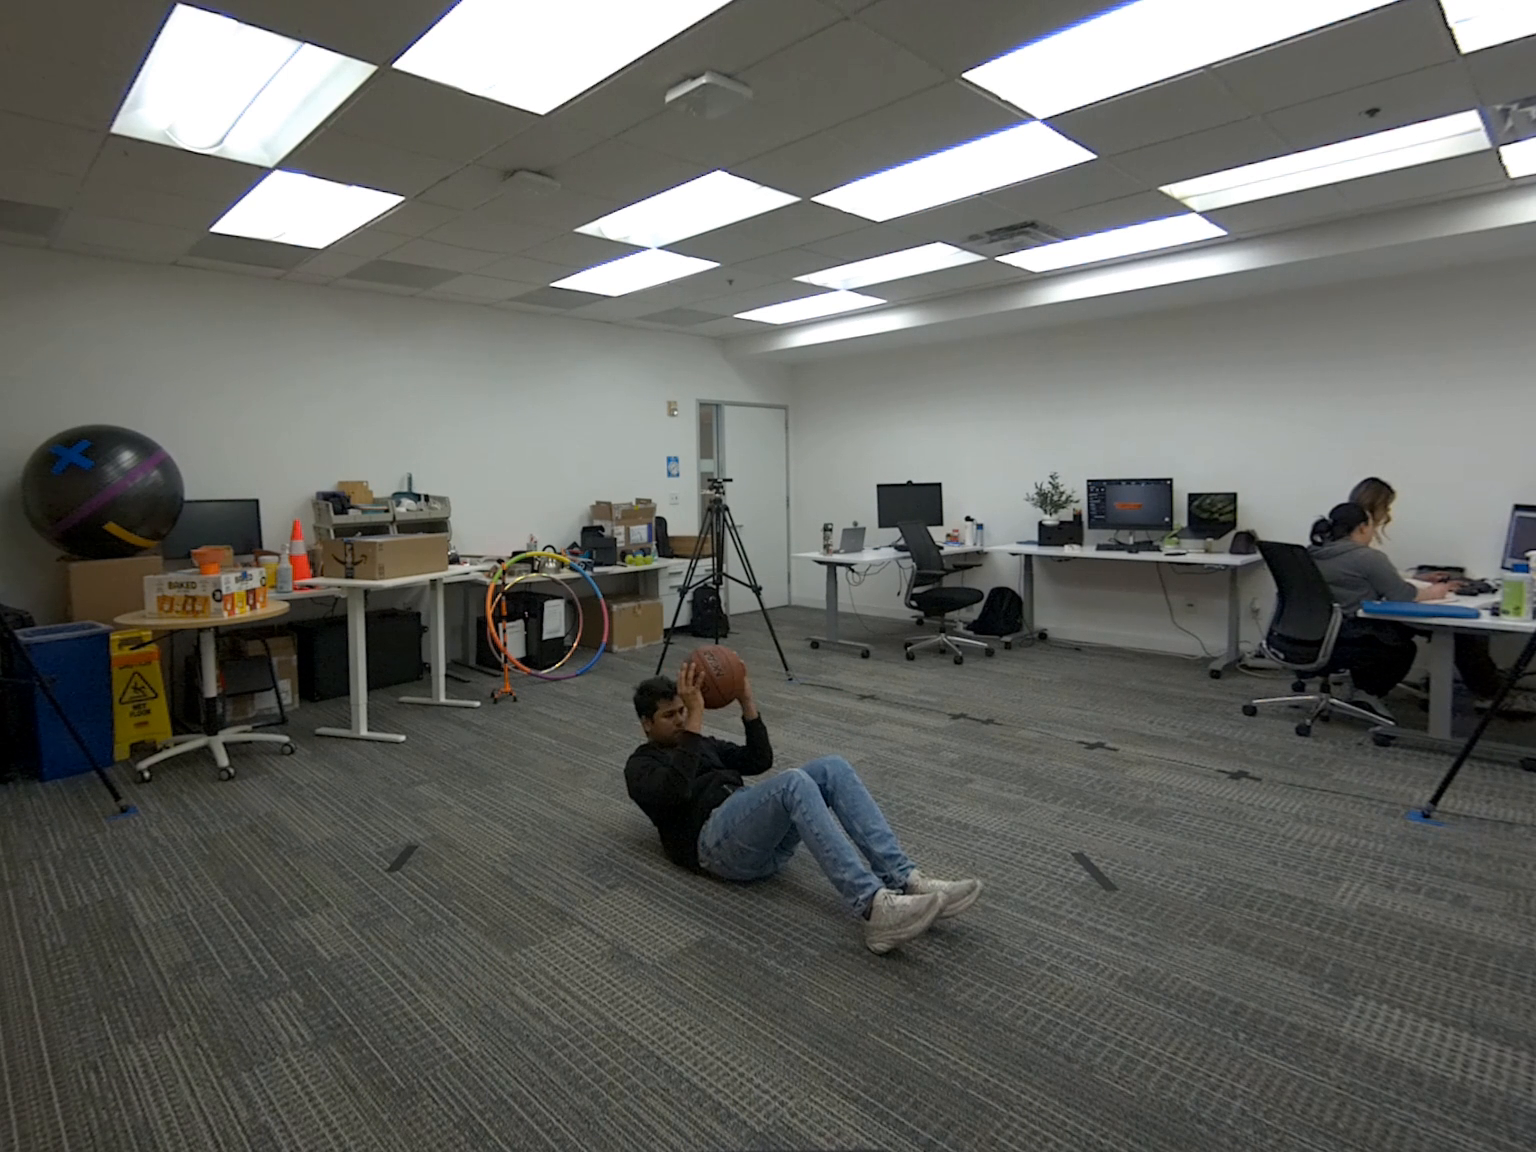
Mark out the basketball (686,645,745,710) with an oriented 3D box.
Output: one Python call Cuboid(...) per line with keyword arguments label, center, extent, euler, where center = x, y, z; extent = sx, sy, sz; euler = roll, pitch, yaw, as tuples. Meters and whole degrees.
Cuboid(label="basketball", center=(-0.241, 0.385, 3.192), extent=(0.236, 0.235, 0.237), euler=(-1, 5, -2))
